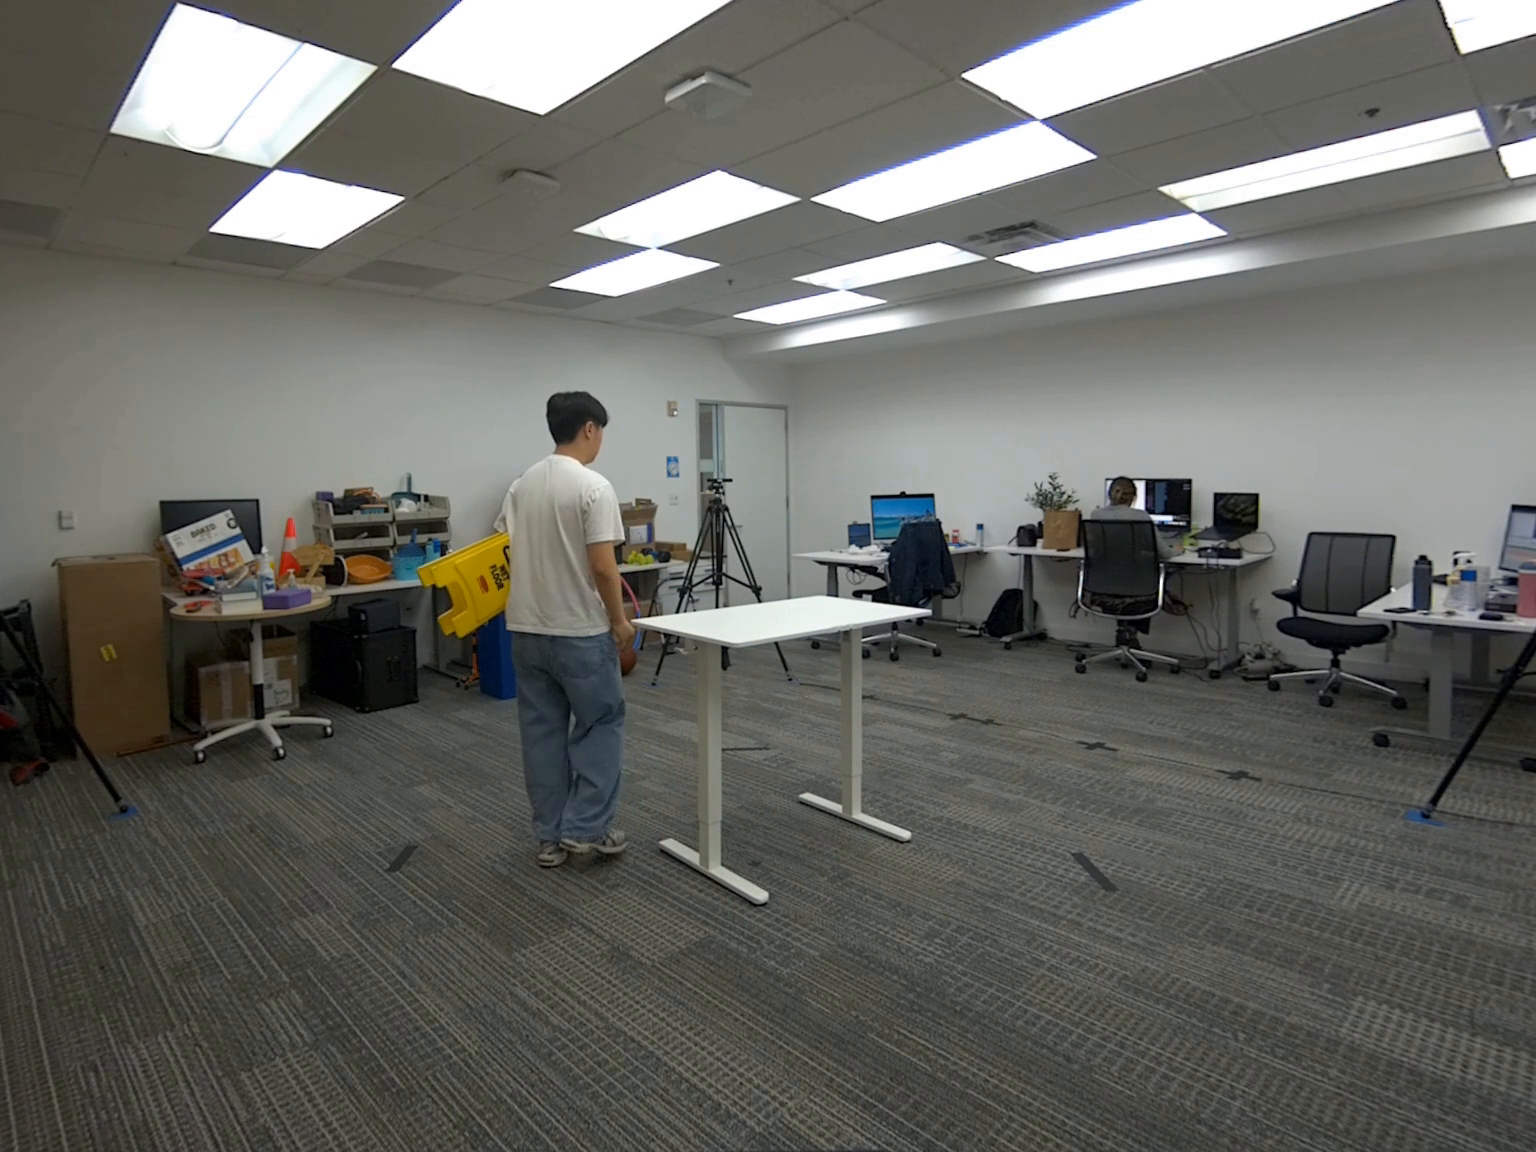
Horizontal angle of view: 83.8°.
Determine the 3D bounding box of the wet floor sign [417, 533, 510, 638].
[{"bbox_3d":[-0.955,-0.045,3.244,0.298,0.276,0.641,2,29,45],"label":"wet floor sign"}]
